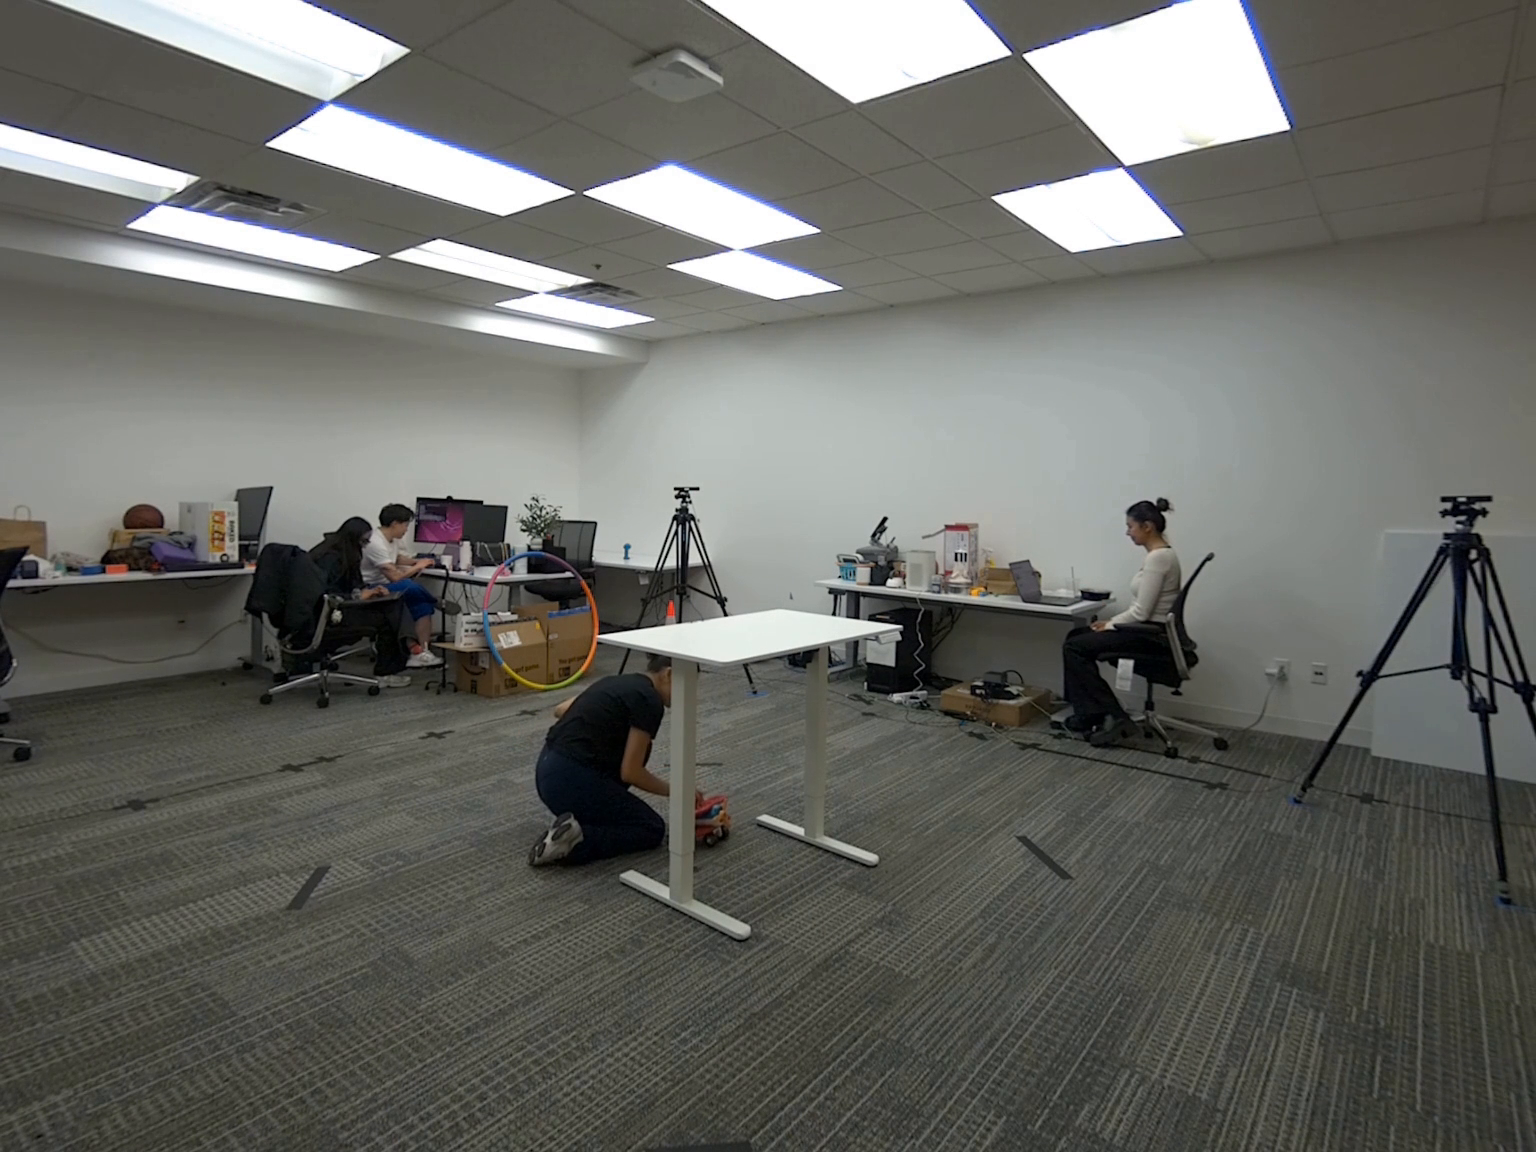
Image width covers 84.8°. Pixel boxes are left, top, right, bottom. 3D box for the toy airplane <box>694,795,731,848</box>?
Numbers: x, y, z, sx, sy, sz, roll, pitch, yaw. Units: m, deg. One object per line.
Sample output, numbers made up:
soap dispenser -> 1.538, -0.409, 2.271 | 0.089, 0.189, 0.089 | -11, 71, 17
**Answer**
toy airplane -> -0.268, 0.973, 3.380 | 0.260, 0.156, 0.251 | 2, 6, 2
